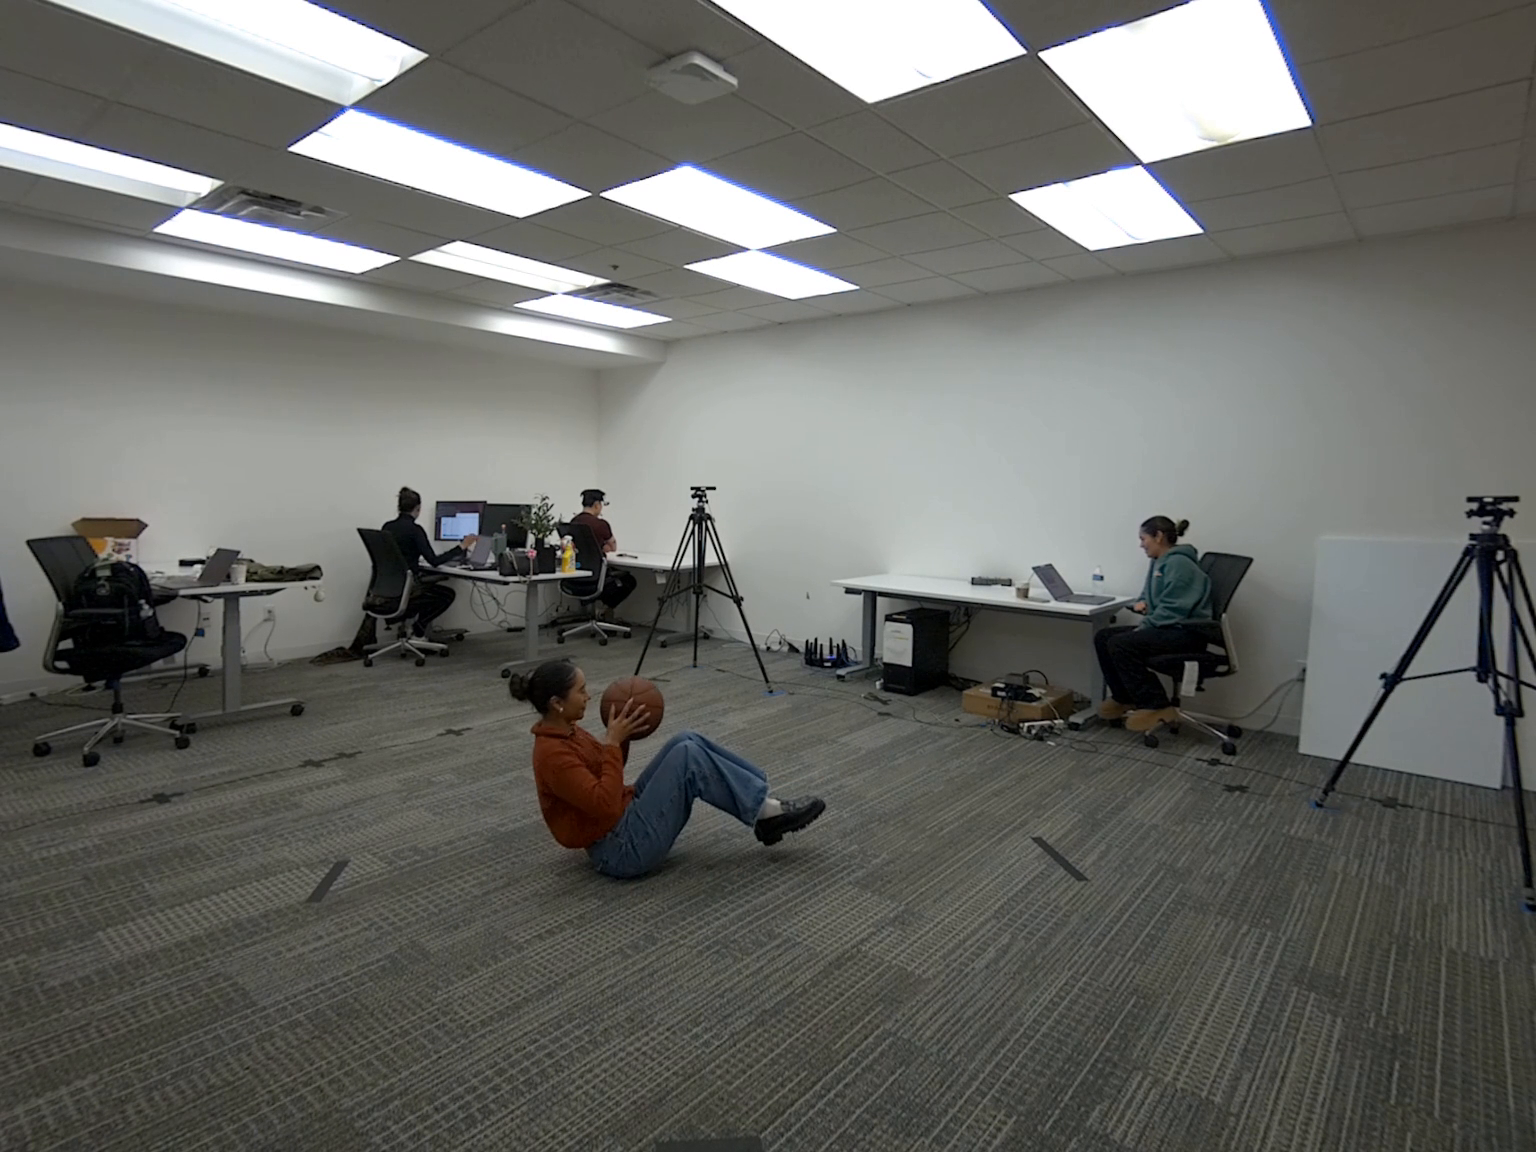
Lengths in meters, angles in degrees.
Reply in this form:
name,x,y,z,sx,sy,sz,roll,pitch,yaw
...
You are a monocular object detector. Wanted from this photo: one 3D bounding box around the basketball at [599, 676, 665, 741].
name,x,y,z,sx,sy,sz,roll,pitch,yaw
basketball,-0.530,0.512,3.110,0.235,0.235,0.237,1,4,-2
